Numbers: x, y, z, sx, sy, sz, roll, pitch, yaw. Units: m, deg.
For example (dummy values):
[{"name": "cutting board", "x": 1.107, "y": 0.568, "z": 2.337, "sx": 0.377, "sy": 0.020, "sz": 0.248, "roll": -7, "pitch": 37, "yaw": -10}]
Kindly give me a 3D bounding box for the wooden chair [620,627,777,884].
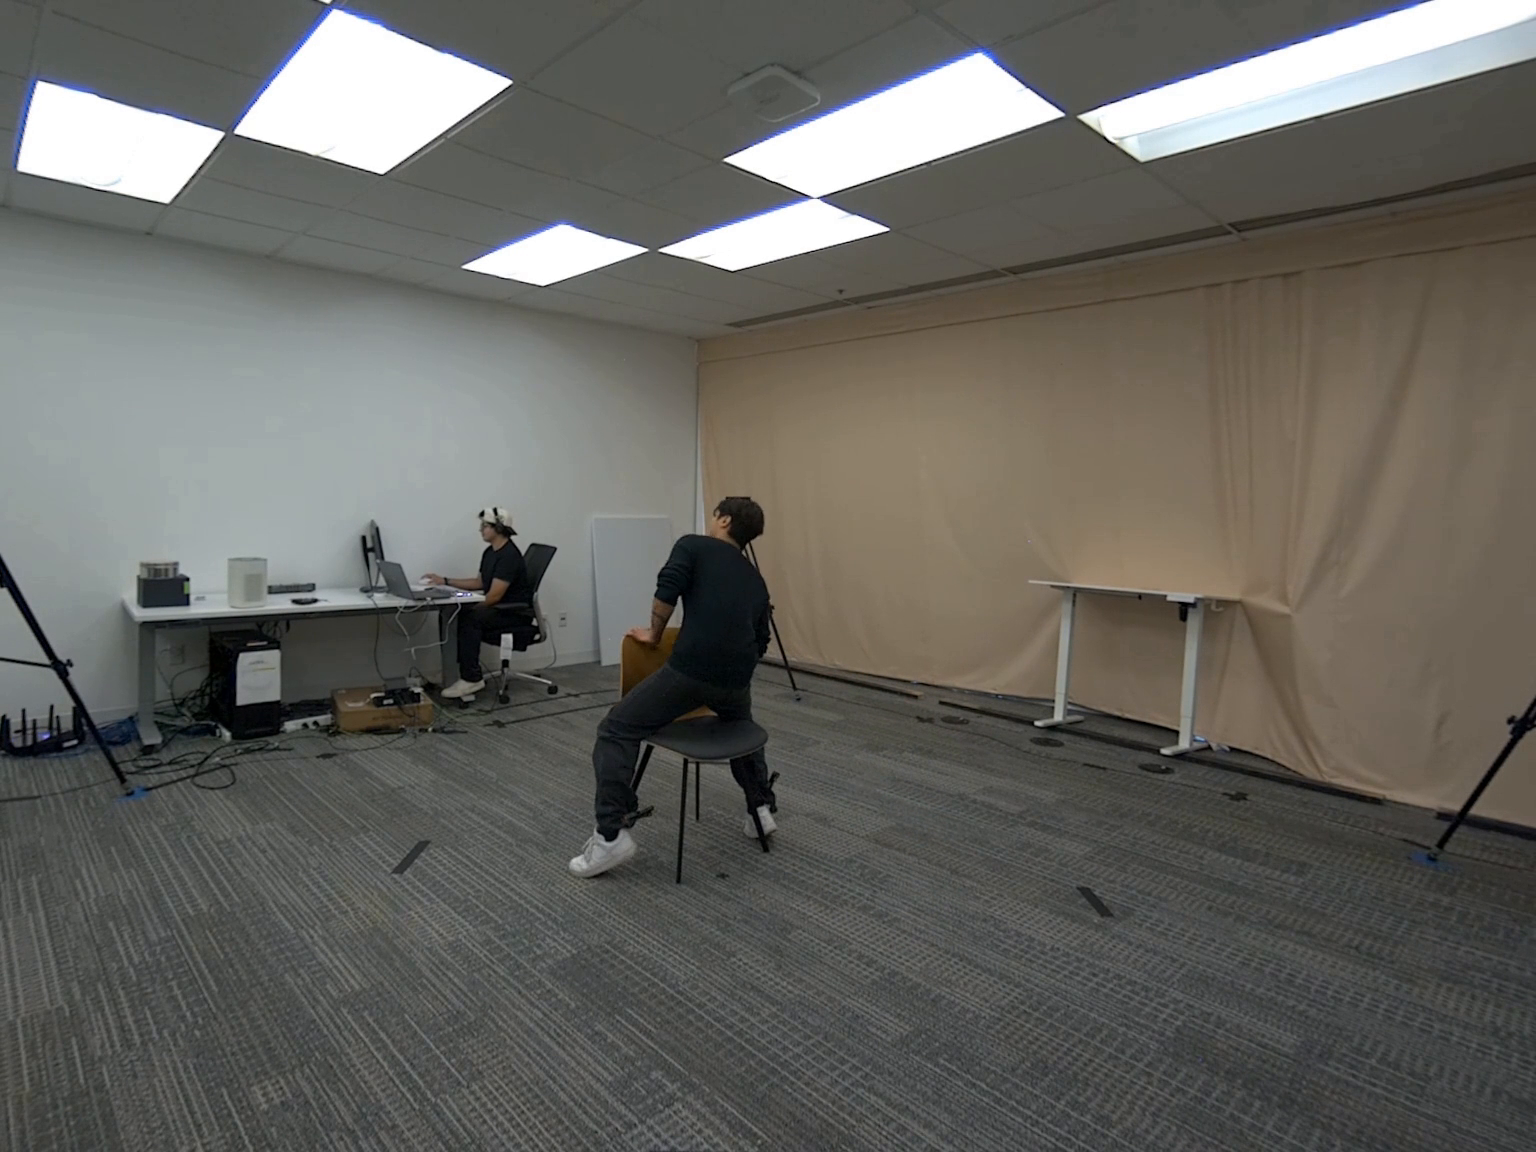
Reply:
[{"name": "wooden chair", "x": -0.305, "y": 0.658, "z": 3.308, "sx": 0.467, "sy": 0.878, "sz": 0.535, "roll": -2, "pitch": 0, "yaw": -42}]
